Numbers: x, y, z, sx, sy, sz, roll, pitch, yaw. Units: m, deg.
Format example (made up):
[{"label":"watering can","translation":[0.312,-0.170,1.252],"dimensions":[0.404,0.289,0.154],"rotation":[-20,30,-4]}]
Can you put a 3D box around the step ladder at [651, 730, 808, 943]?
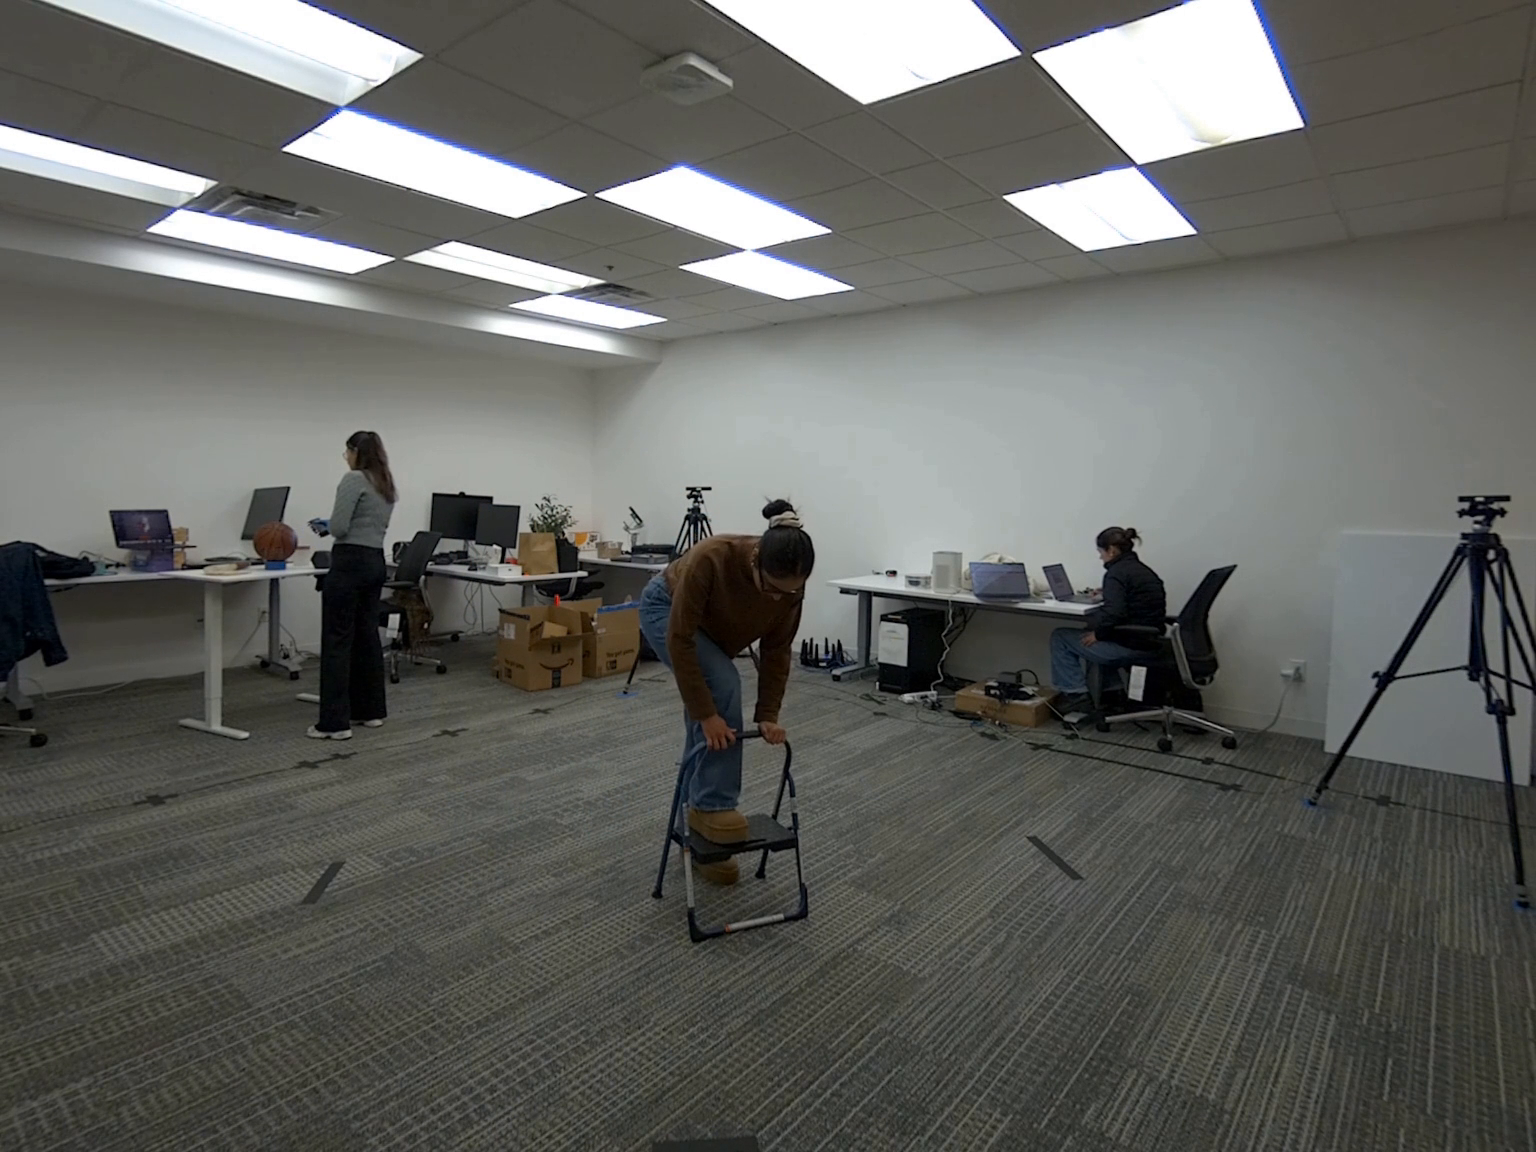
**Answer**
[{"label":"step ladder","translation":[-0.131,0.794,2.818],"dimensions":[0.420,0.605,0.359],"rotation":[-1,3,-27]}]
